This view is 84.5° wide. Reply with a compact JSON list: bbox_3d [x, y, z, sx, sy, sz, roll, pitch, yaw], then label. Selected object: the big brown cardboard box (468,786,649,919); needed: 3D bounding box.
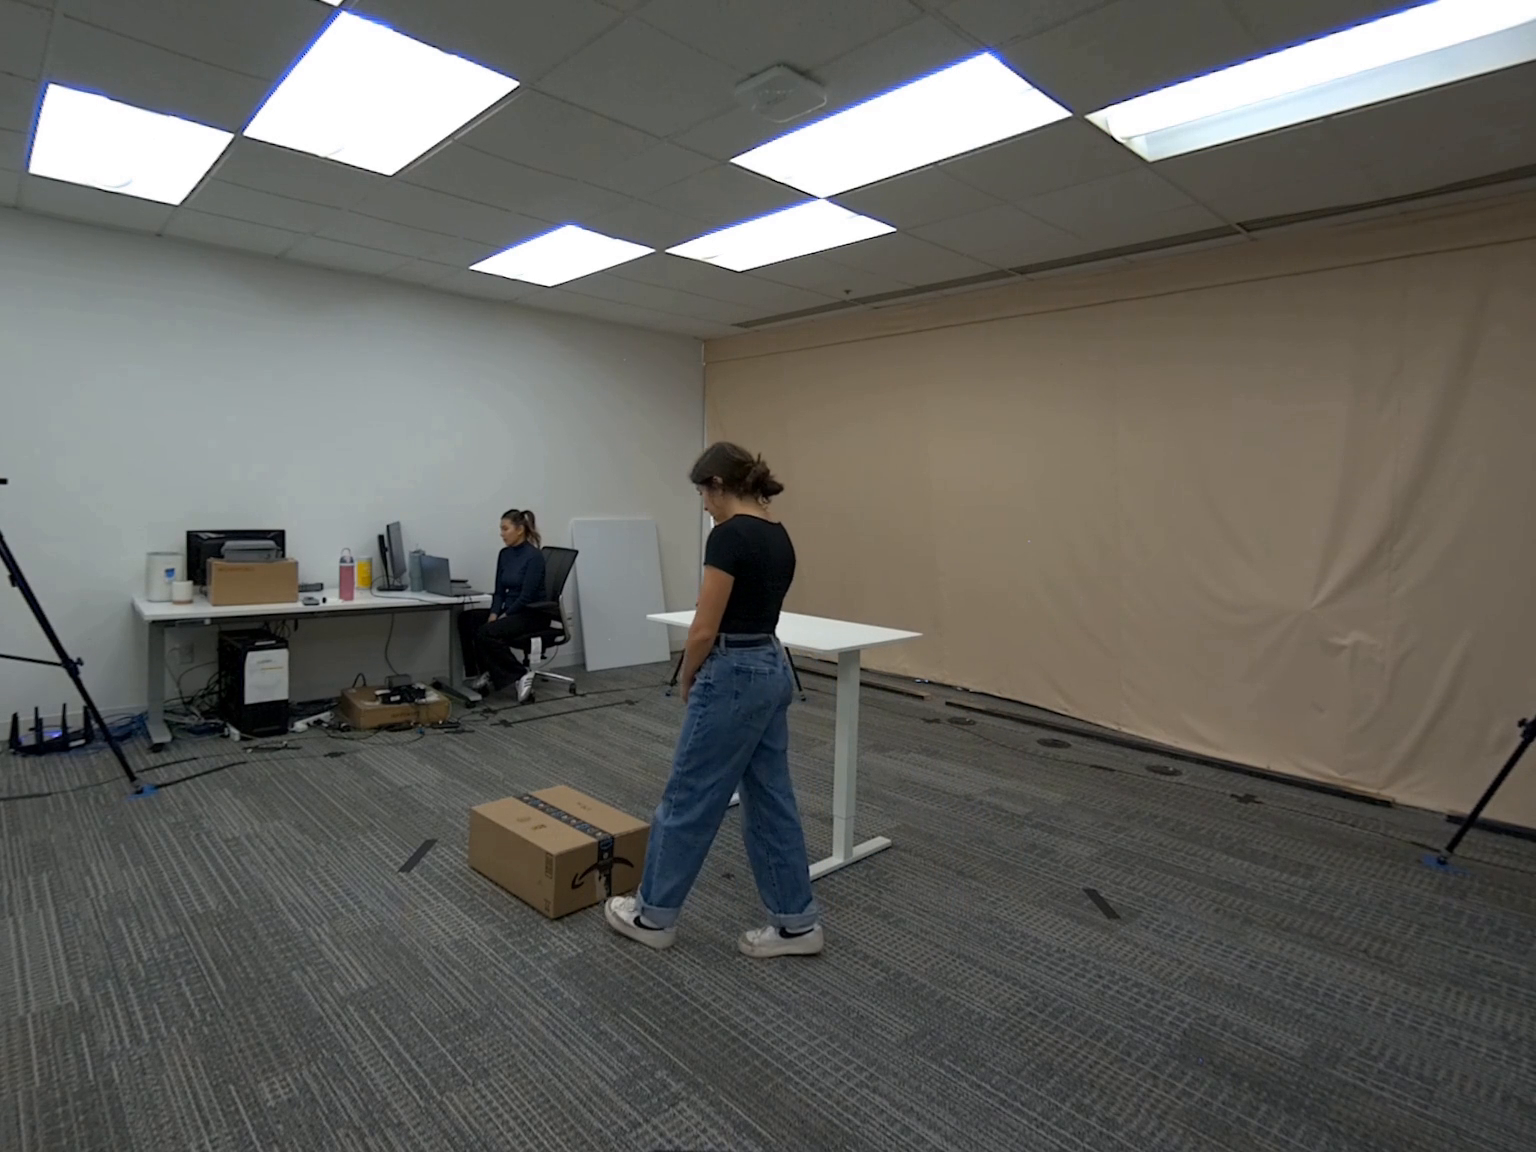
[{"bbox_3d":[-0.776,0.984,3.076,0.604,0.233,0.408,5,5,44],"label":"big brown cardboard box"}]
